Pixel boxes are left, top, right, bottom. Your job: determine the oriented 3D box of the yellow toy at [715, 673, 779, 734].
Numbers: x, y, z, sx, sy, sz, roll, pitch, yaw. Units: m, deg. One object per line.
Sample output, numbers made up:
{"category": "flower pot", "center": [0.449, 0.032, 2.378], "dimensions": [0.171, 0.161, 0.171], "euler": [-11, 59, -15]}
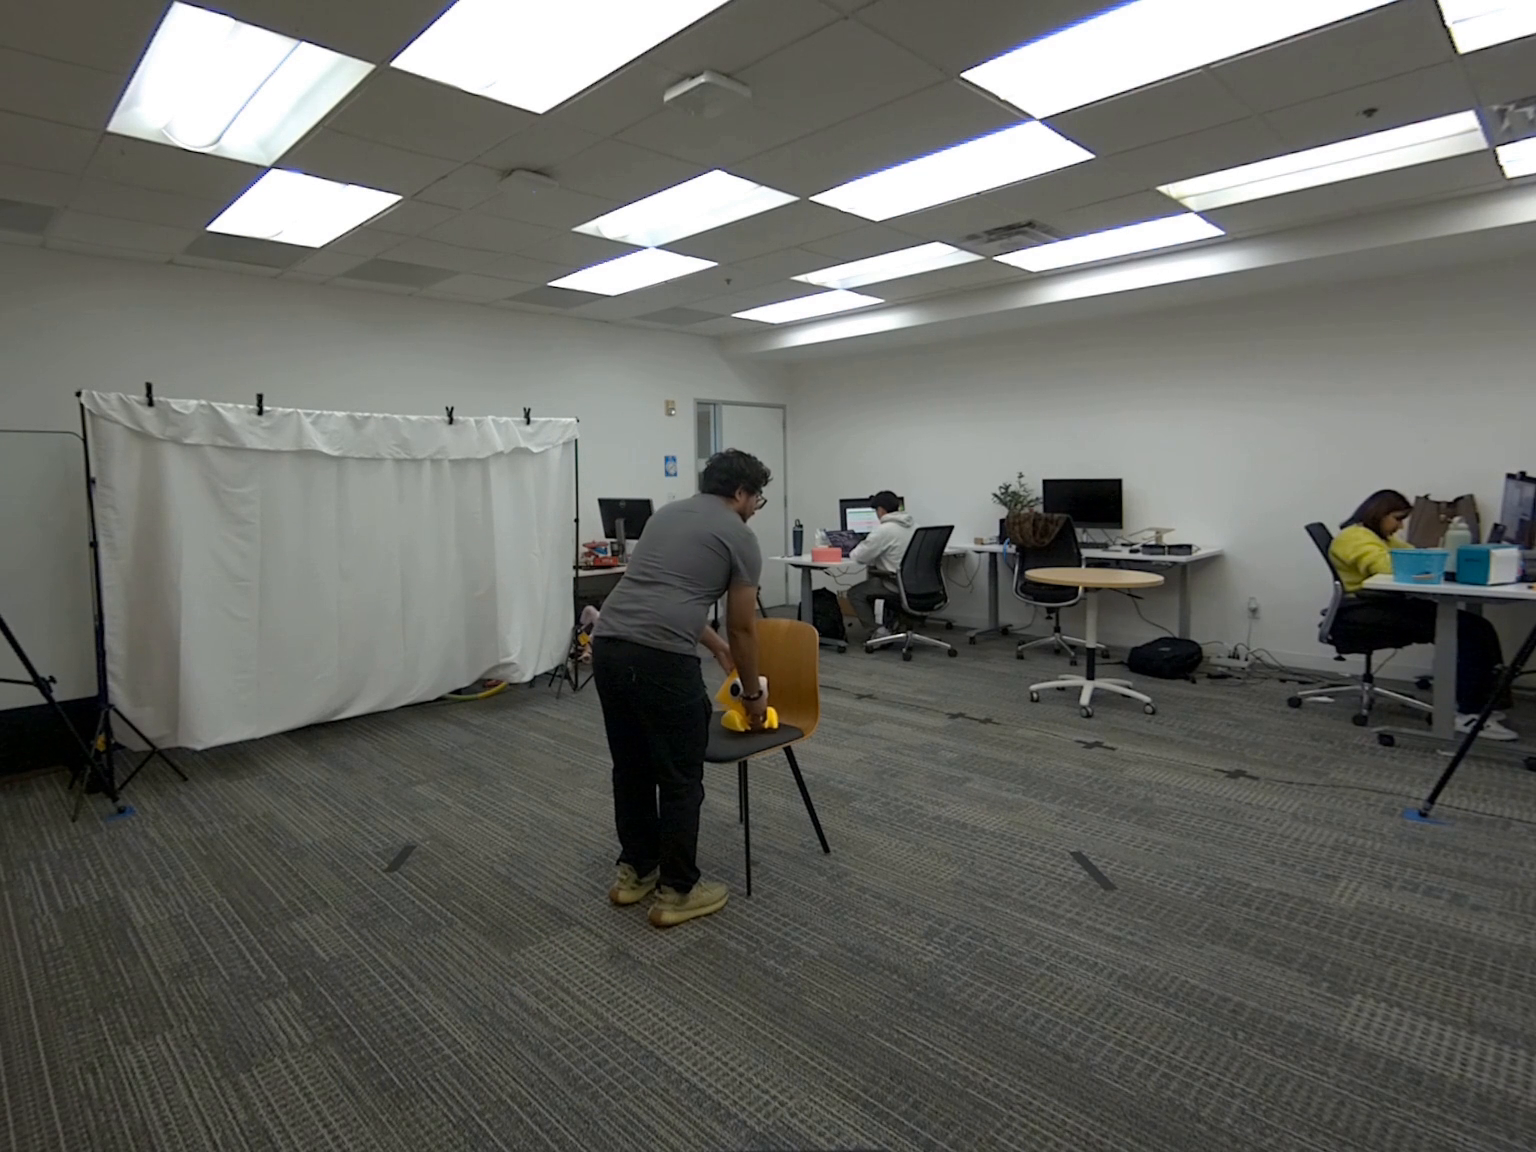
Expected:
{"category": "yellow toy", "center": [-0.069, 0.422, 3.100], "dimensions": [0.200, 0.230, 0.198], "euler": [1, 3, -24]}
